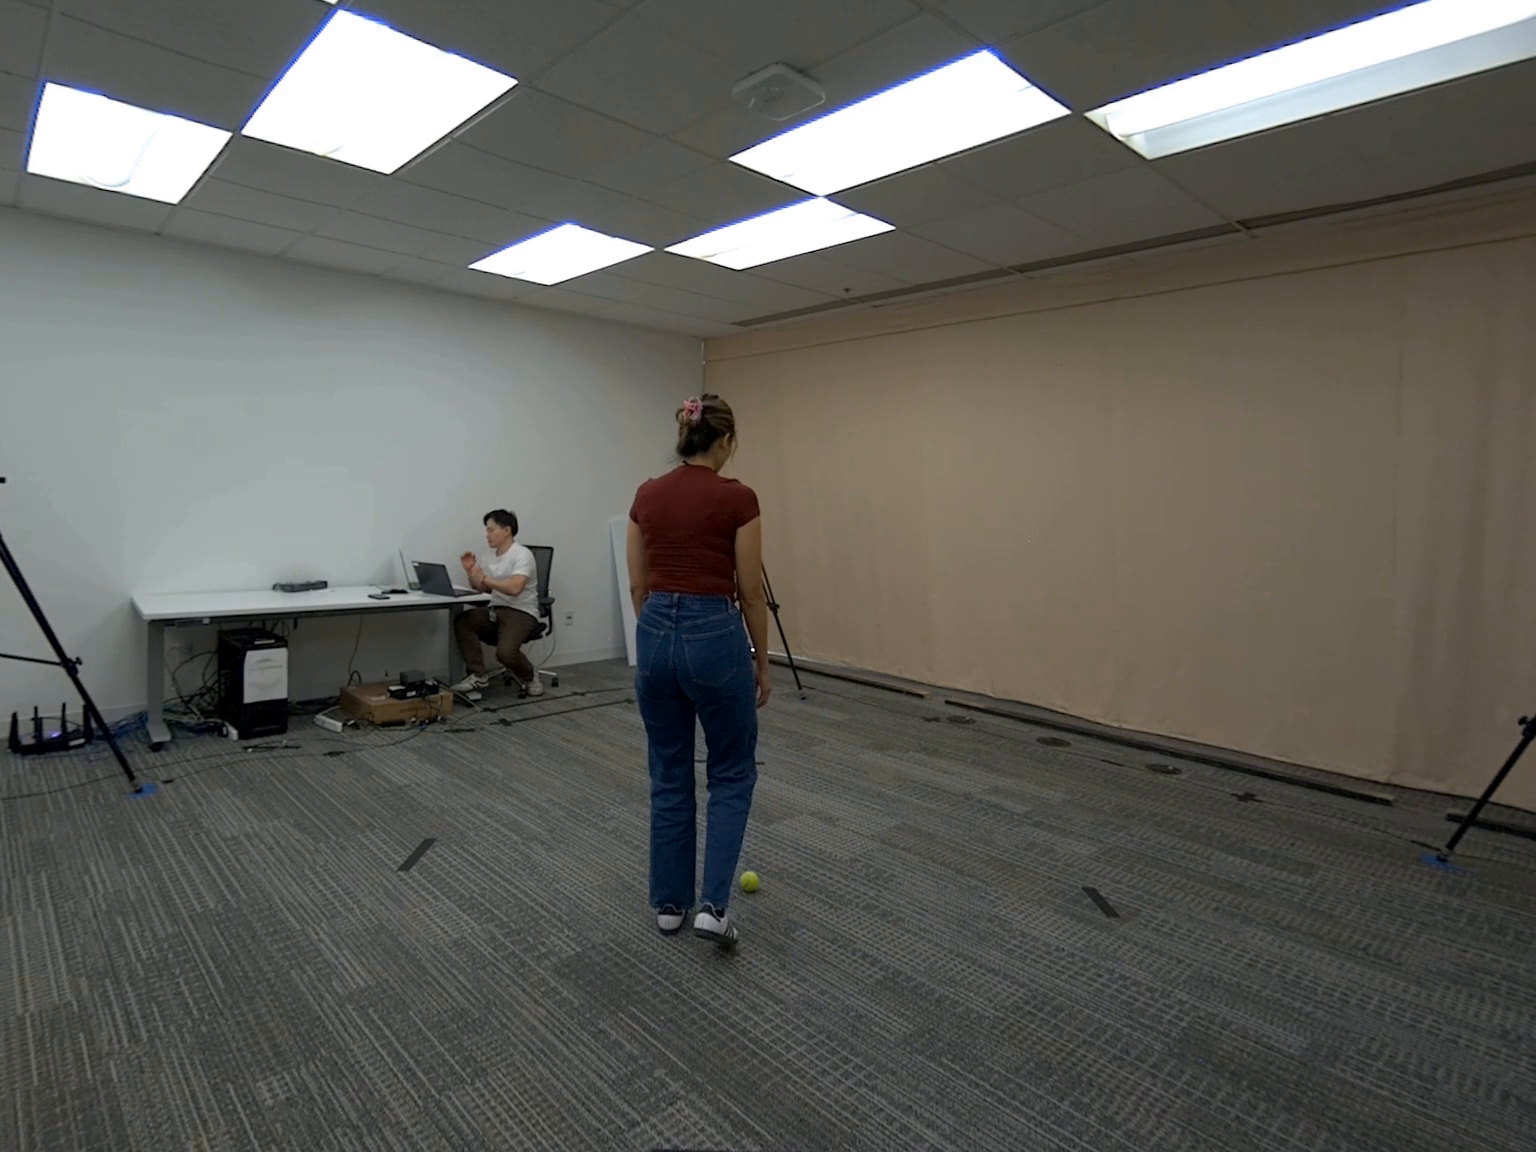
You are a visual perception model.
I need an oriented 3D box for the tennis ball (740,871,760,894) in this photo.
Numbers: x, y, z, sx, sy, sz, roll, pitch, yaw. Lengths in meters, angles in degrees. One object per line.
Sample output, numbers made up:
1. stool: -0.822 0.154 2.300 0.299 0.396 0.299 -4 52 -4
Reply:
1. tennis ball: -0.067 1.066 2.986 0.066 0.066 0.067 1 4 -1
